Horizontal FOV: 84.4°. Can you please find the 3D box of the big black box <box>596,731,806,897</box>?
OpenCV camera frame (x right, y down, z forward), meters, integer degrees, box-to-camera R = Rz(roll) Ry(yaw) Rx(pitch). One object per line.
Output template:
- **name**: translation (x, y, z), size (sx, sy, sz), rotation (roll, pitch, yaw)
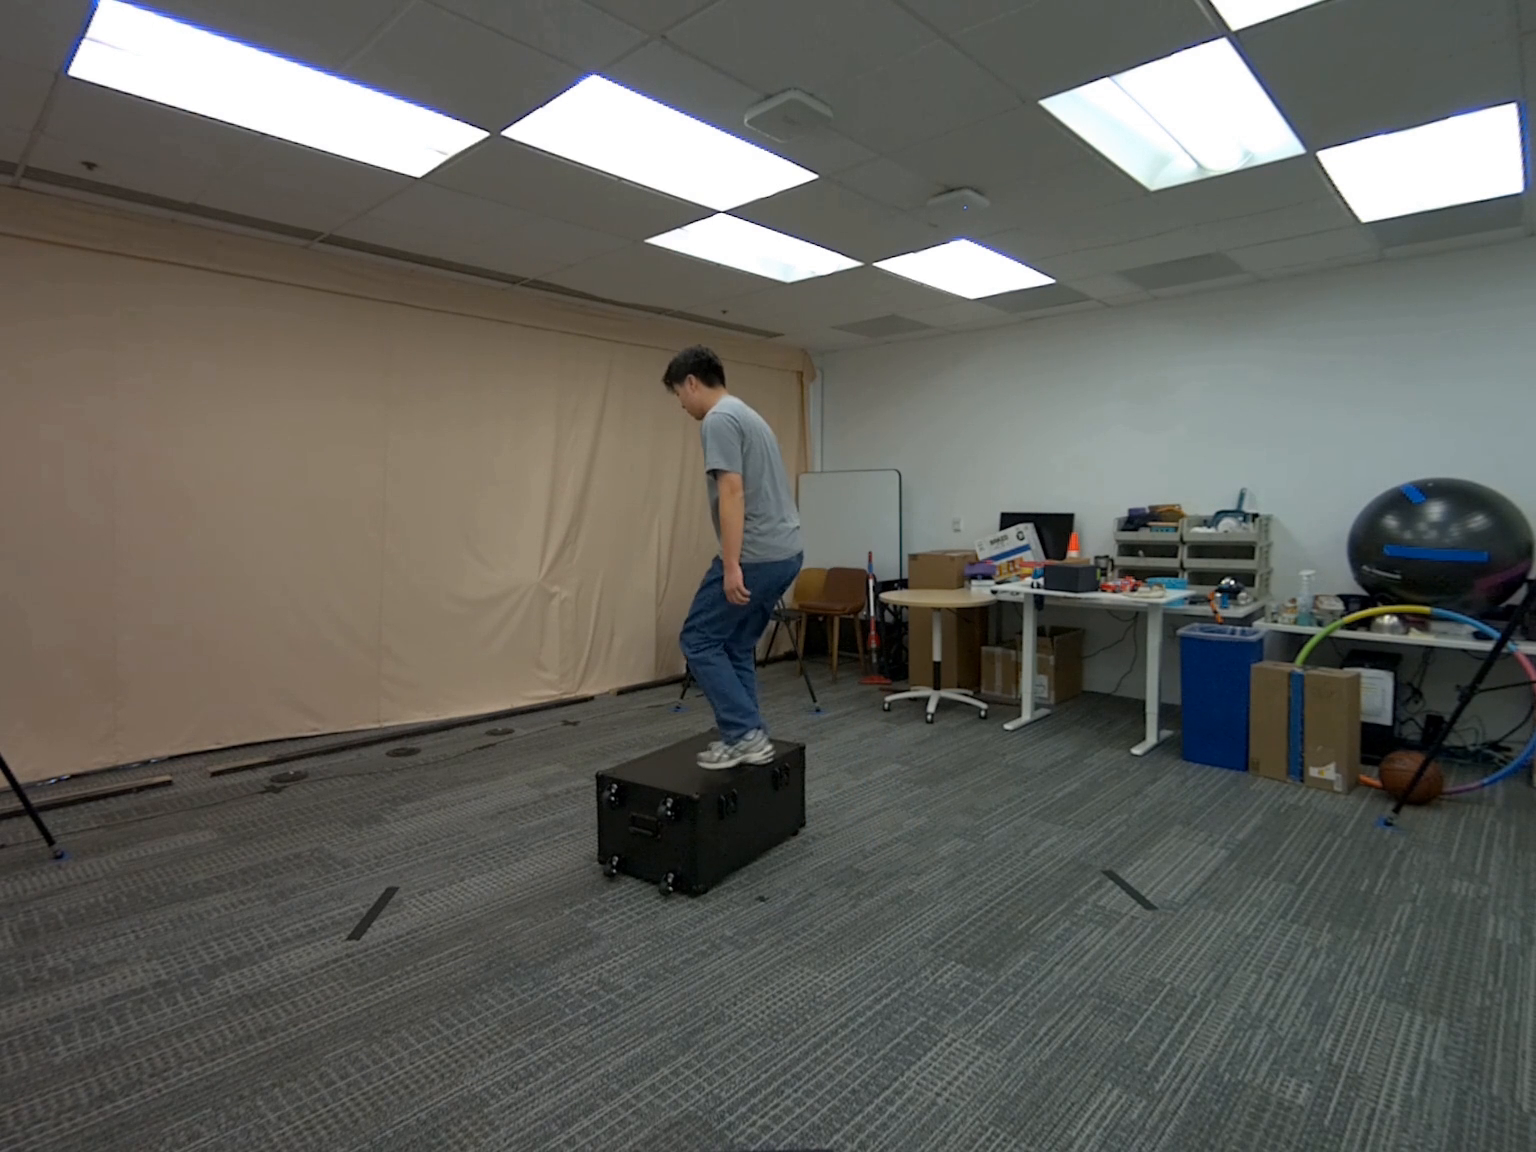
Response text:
- **big black box**: translation (-0.265, 0.924, 3.382), size (0.537, 0.395, 0.837), rotation (3, 5, 33)
